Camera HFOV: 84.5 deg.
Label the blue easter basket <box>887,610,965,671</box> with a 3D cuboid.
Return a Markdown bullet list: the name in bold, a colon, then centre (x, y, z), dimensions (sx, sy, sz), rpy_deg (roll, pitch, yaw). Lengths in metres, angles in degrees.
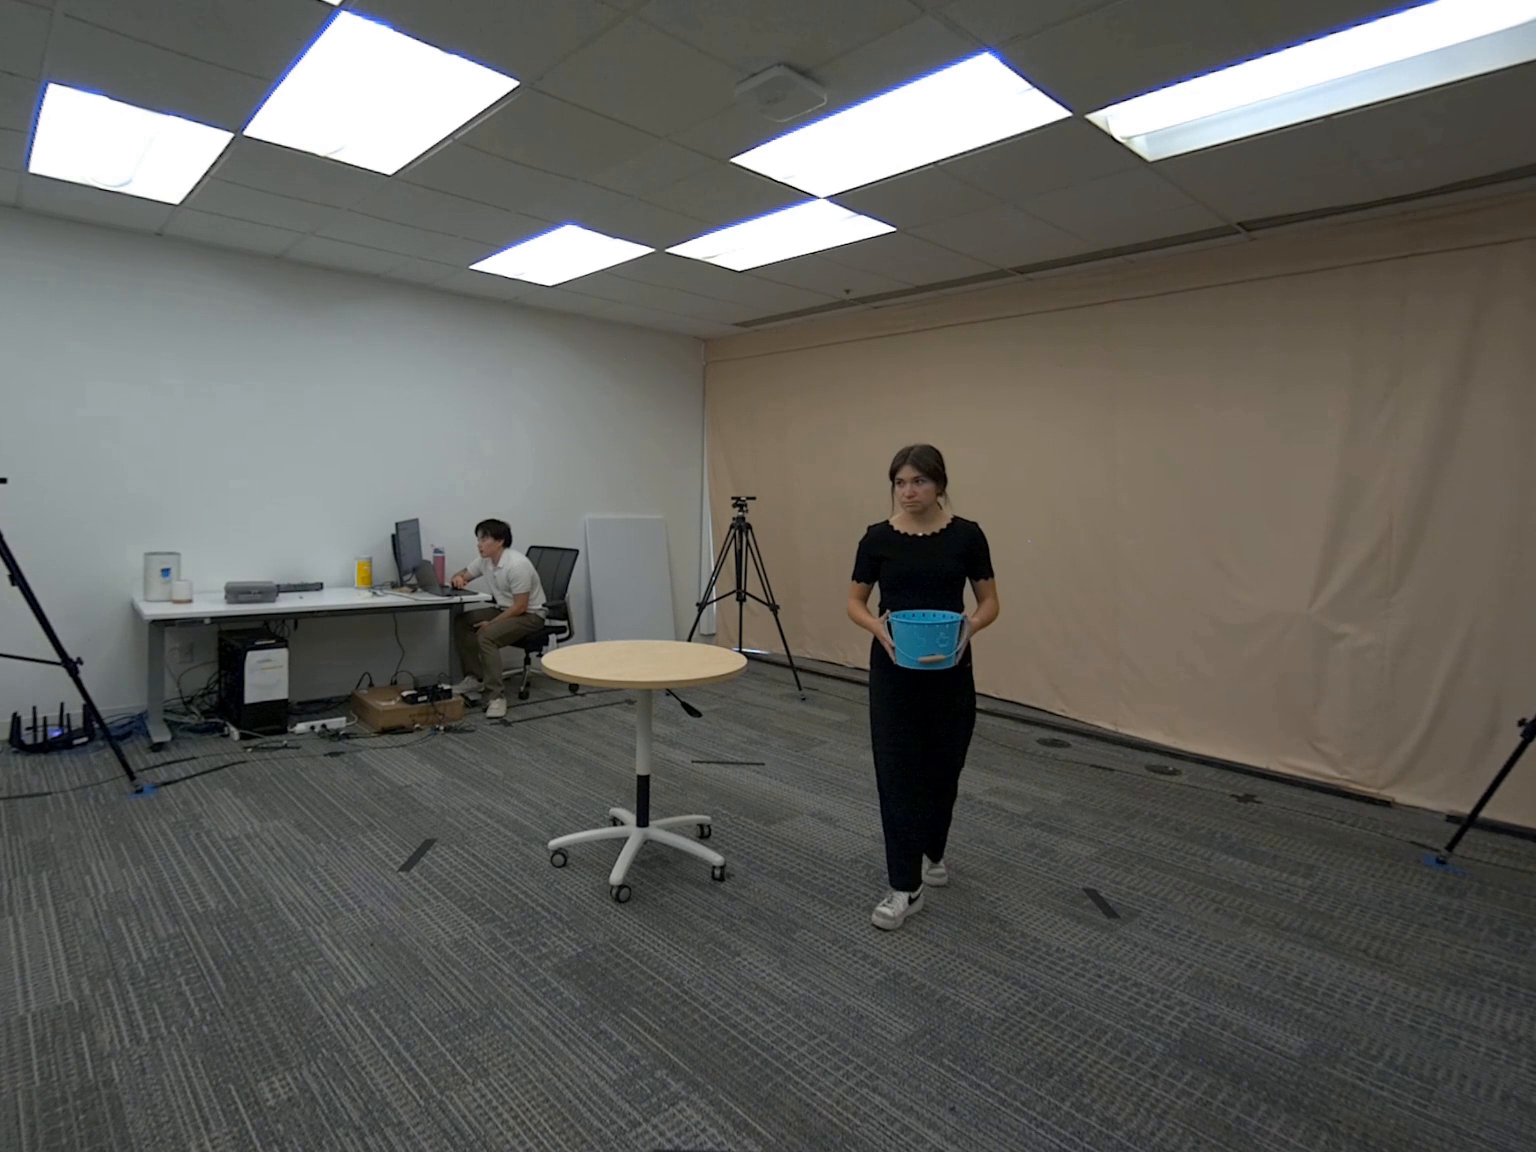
- **blue easter basket**: centre (0.483, 0.207, 2.655), dimensions (0.243, 0.155, 0.244), rpy_deg (0, 5, -1)
